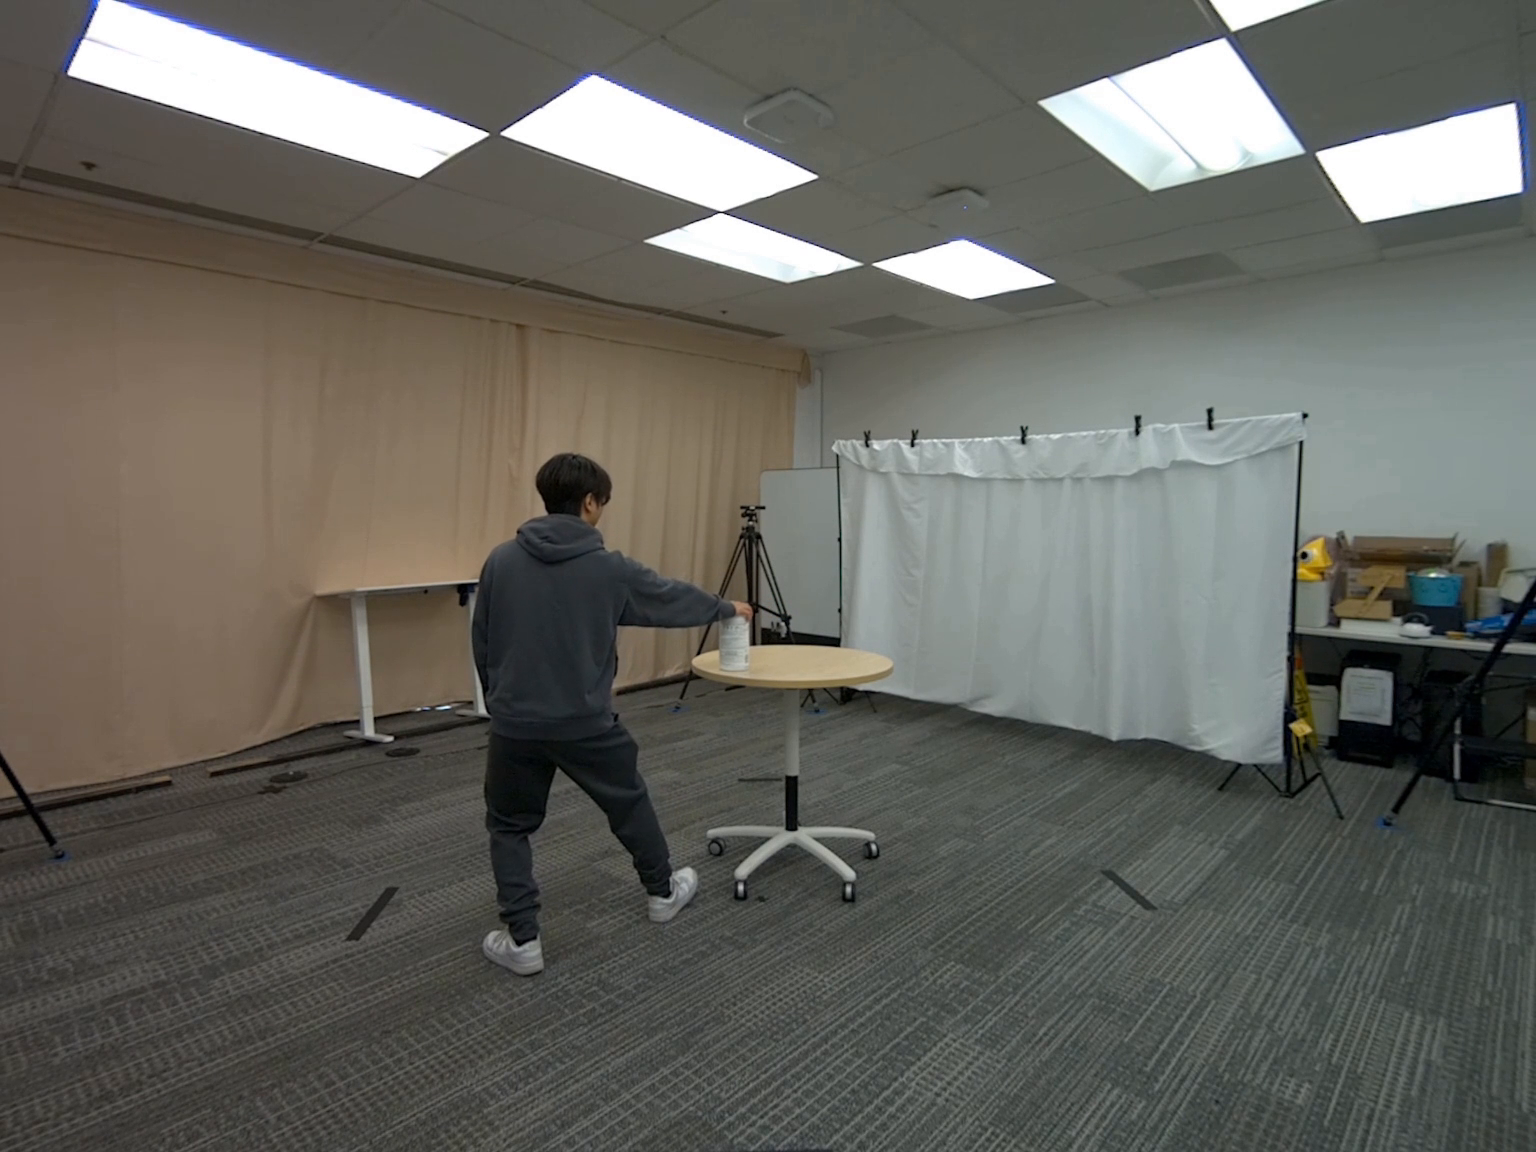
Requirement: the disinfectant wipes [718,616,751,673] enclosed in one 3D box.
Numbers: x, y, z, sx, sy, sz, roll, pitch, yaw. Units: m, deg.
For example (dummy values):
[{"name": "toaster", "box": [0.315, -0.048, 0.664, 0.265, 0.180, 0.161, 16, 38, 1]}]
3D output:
[{"name": "disinfectant wipes", "box": [-0.118, 0.234, 3.058, 0.118, 0.216, 0.118, -3, 6, -1]}]
